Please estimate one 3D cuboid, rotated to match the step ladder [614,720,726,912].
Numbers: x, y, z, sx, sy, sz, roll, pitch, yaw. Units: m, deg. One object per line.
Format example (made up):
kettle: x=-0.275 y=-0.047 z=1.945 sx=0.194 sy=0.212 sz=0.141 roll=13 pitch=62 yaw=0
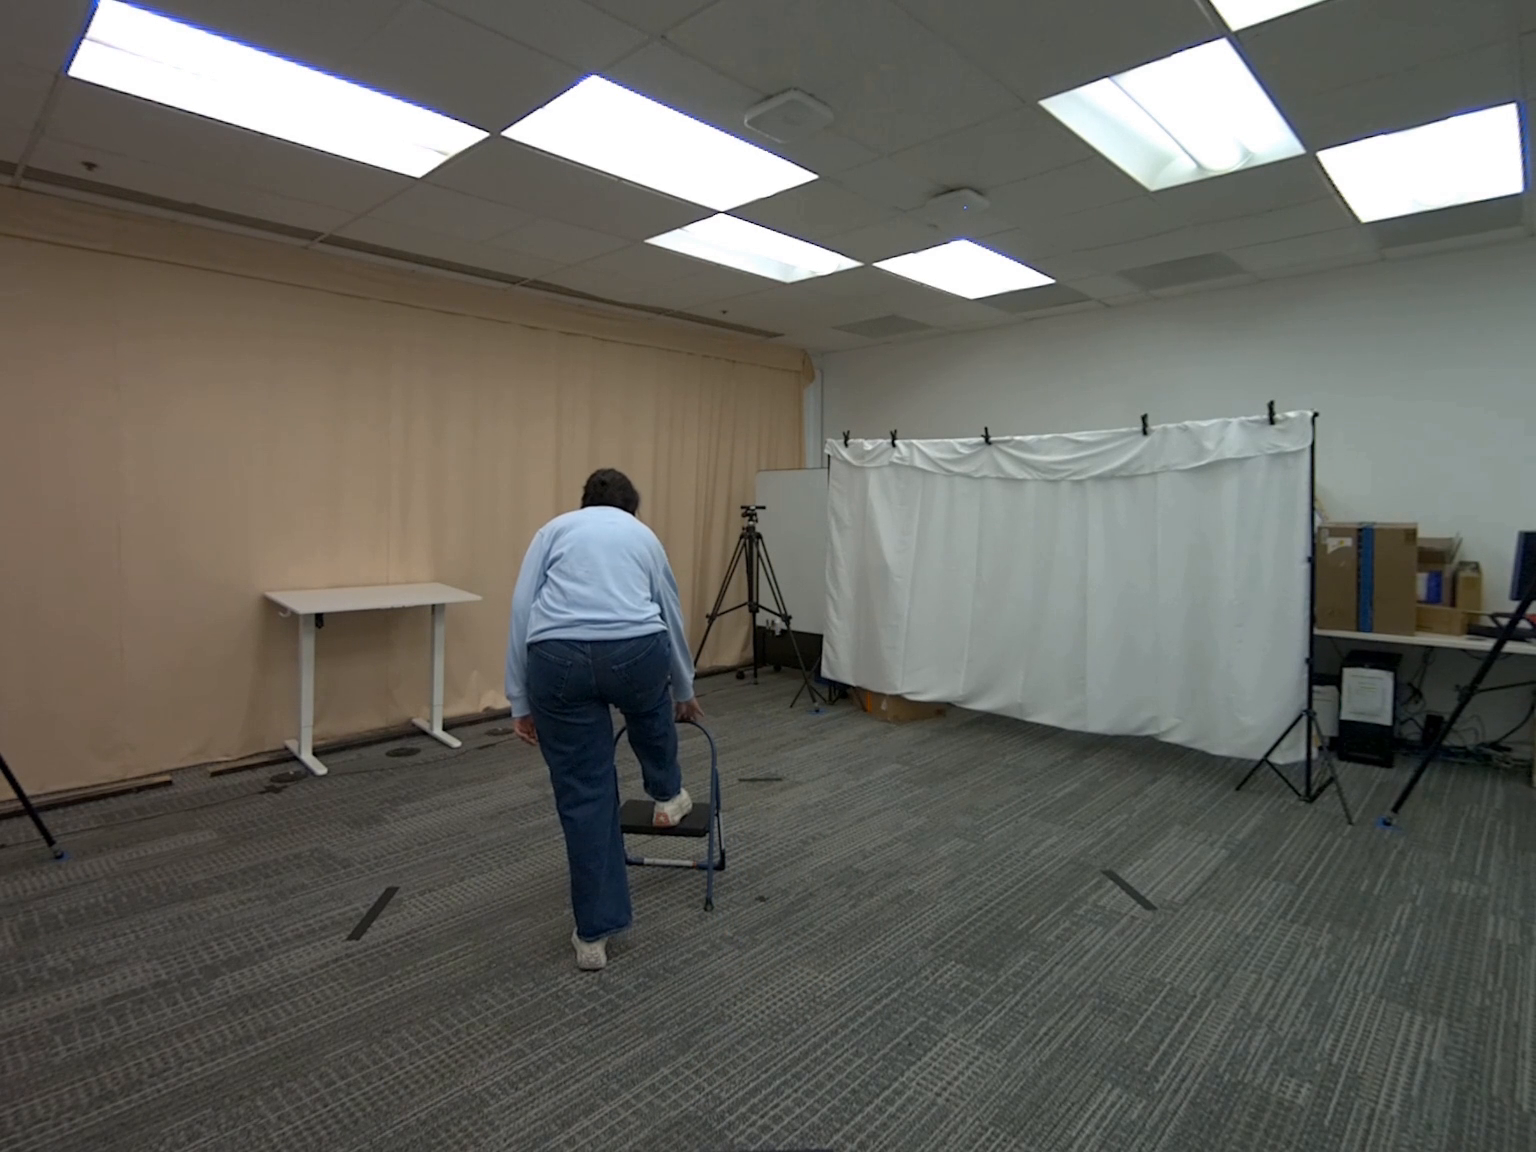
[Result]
step ladder: x=-0.383 y=0.838 z=3.086 sx=0.435 sy=0.605 sz=0.347 roll=0 pitch=3 yaw=8
